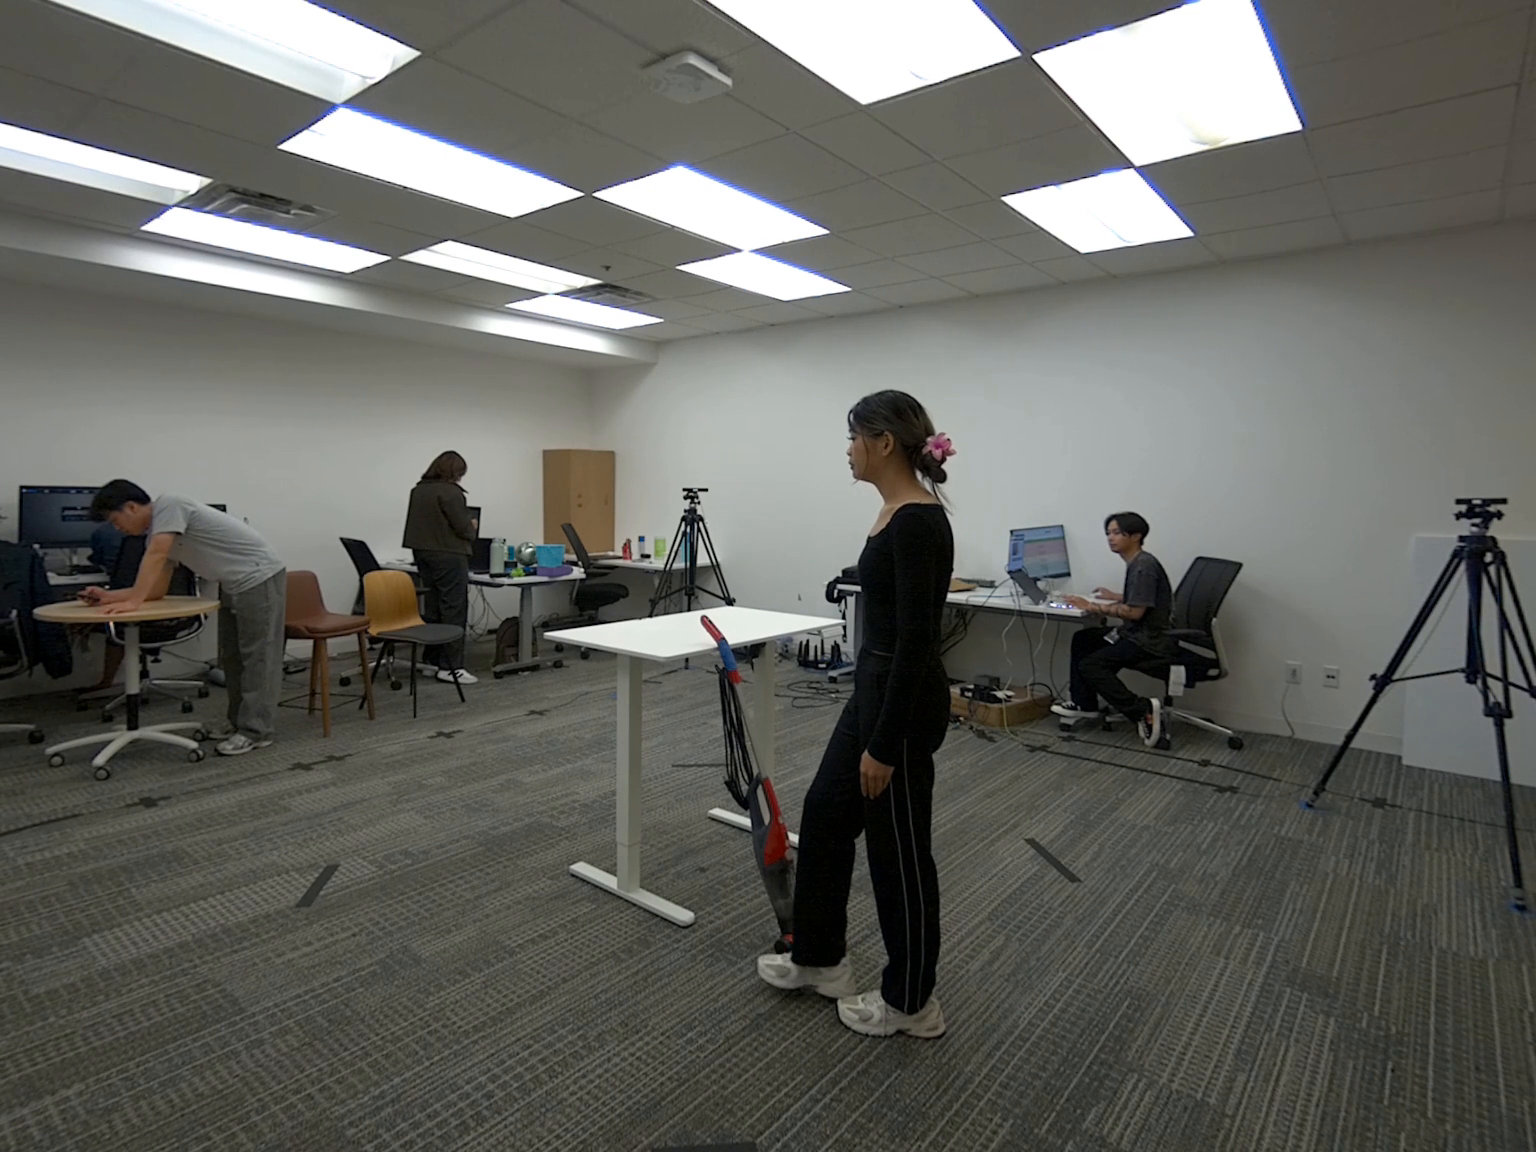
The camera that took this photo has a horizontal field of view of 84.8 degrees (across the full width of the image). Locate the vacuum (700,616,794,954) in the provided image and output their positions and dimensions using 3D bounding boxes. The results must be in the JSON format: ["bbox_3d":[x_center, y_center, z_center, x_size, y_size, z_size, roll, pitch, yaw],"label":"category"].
[{"bbox_3d":[-0.055,0.635,2.654,0.245,1.064,0.146,-7,-16,-47],"label":"vacuum"}]
